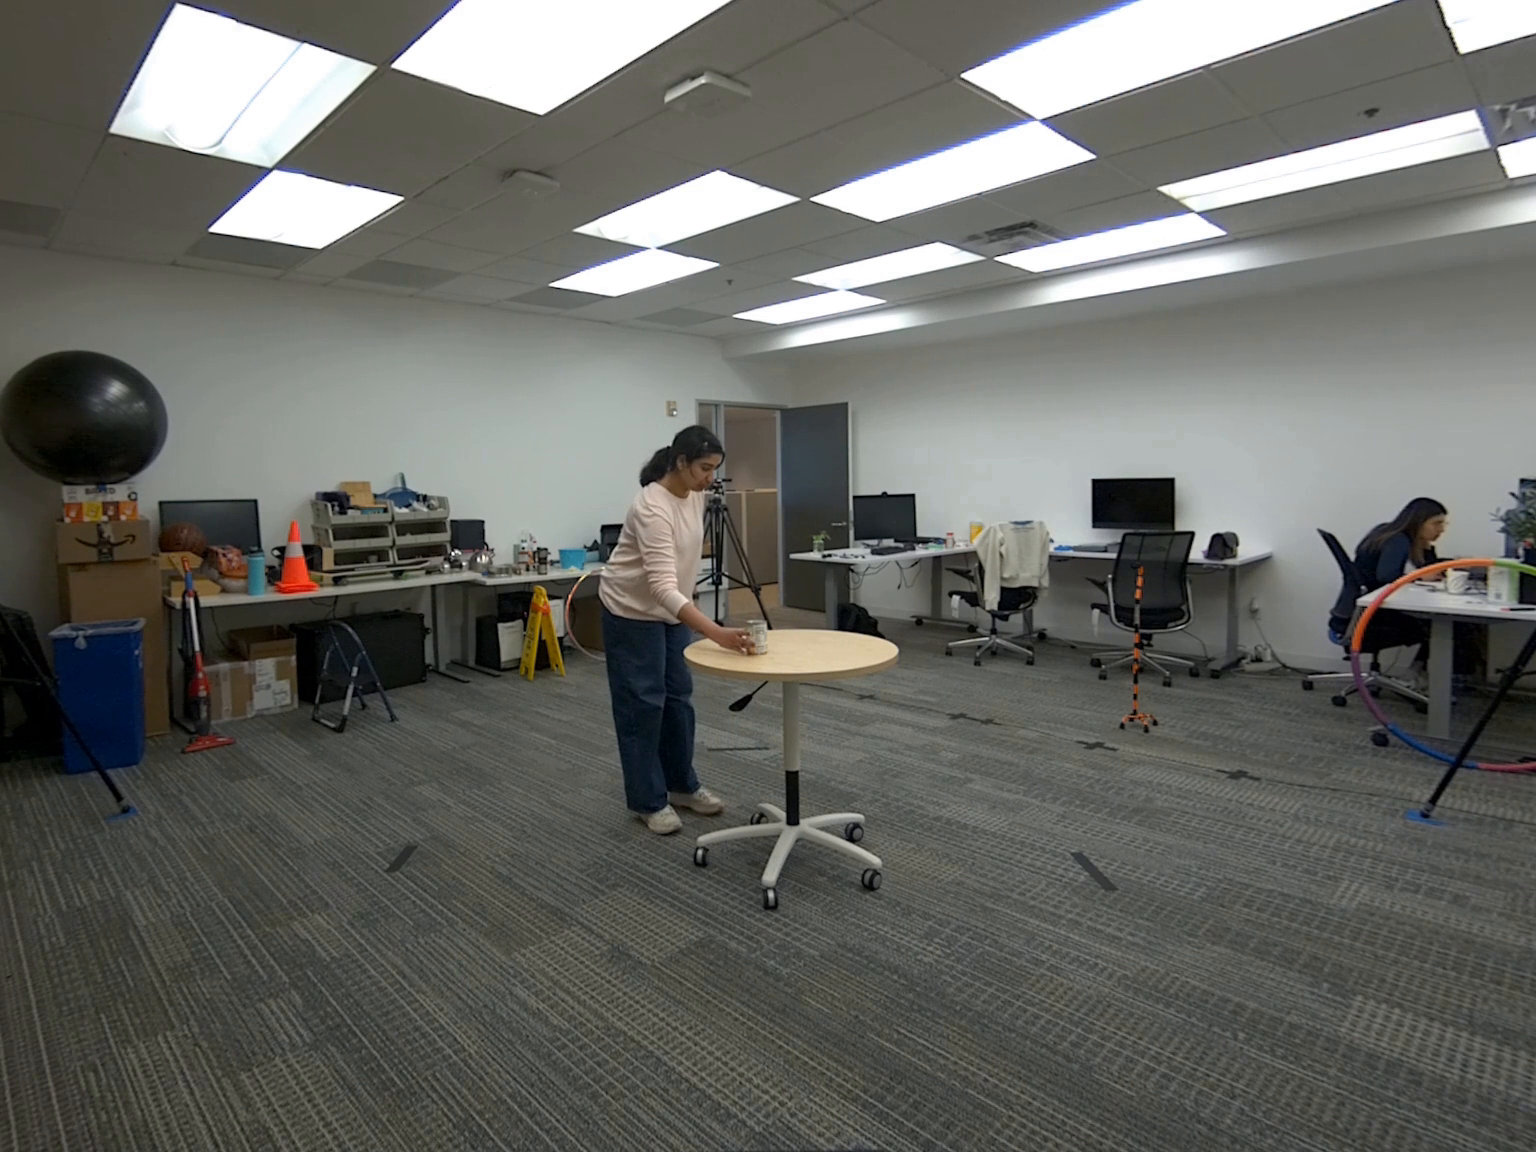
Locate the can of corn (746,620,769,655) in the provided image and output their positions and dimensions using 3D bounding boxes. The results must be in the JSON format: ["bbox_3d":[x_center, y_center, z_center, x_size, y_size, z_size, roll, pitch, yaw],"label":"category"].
[{"bbox_3d":[-0.046,0.218,3.005,0.074,0.110,0.075,-2,8,-1],"label":"can of corn"}]
